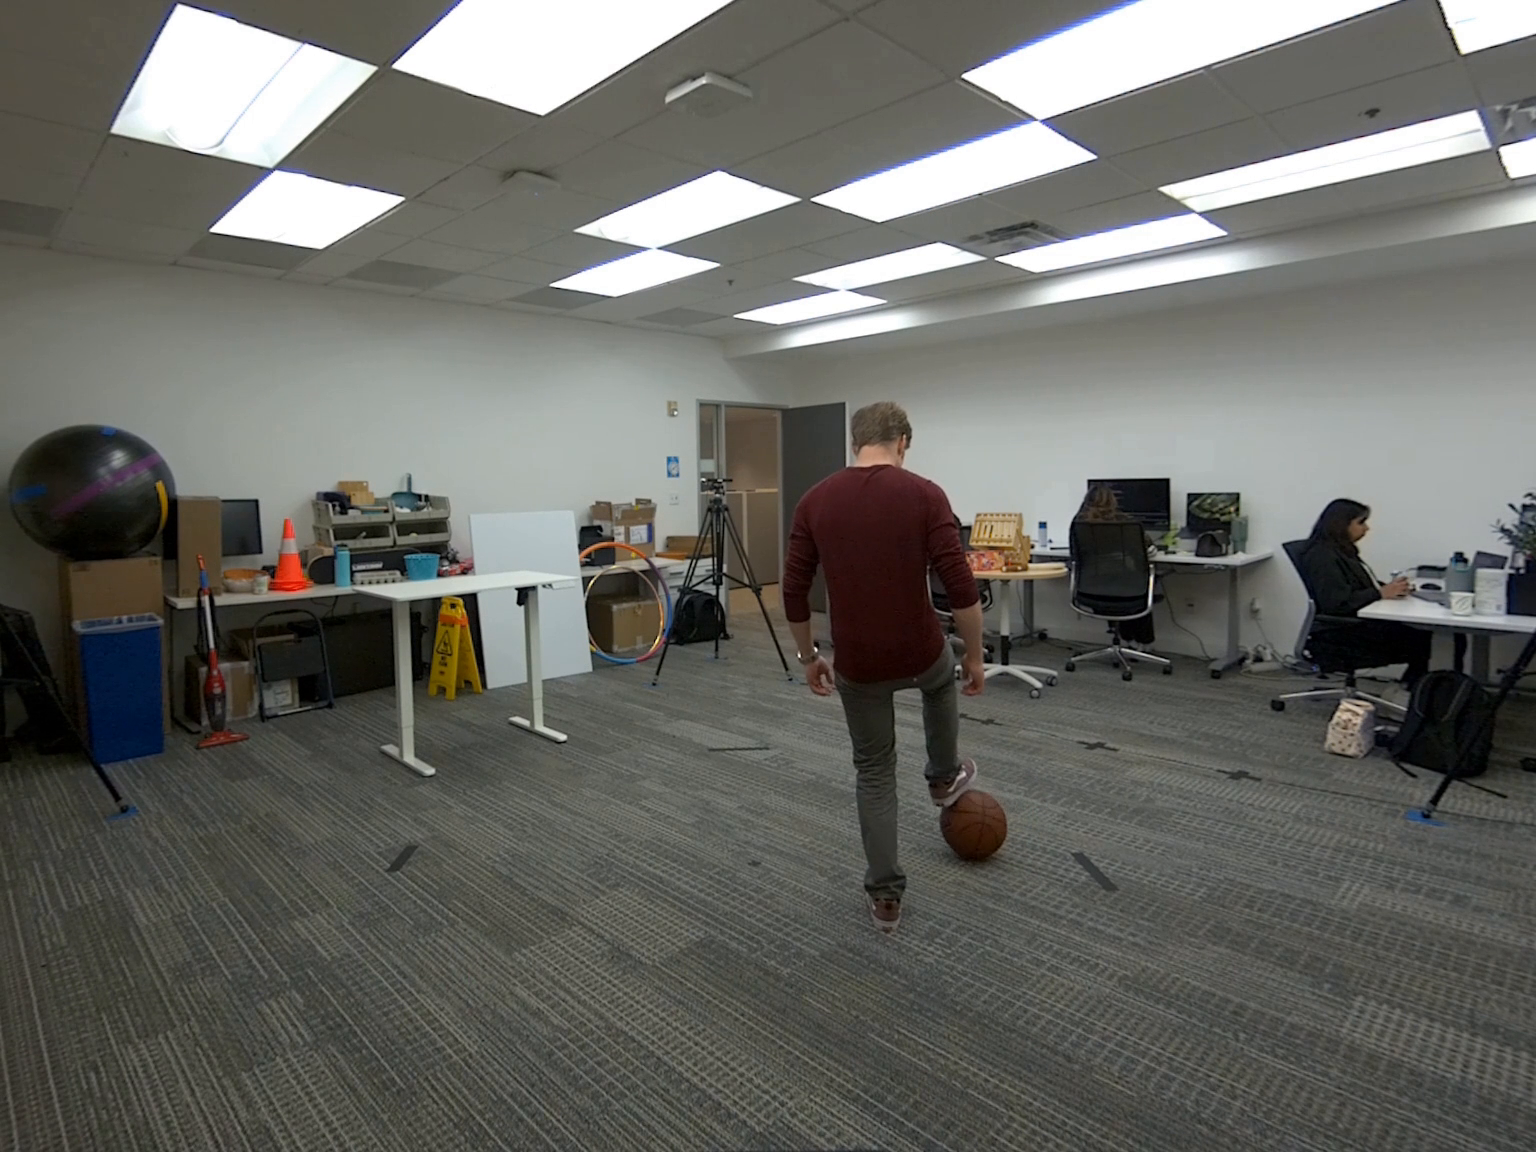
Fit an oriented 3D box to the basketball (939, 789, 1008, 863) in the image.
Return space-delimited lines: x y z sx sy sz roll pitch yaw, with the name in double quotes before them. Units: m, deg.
"basketball" 0.758 0.909 3.133 0.236 0.235 0.237 -1 5 -2
